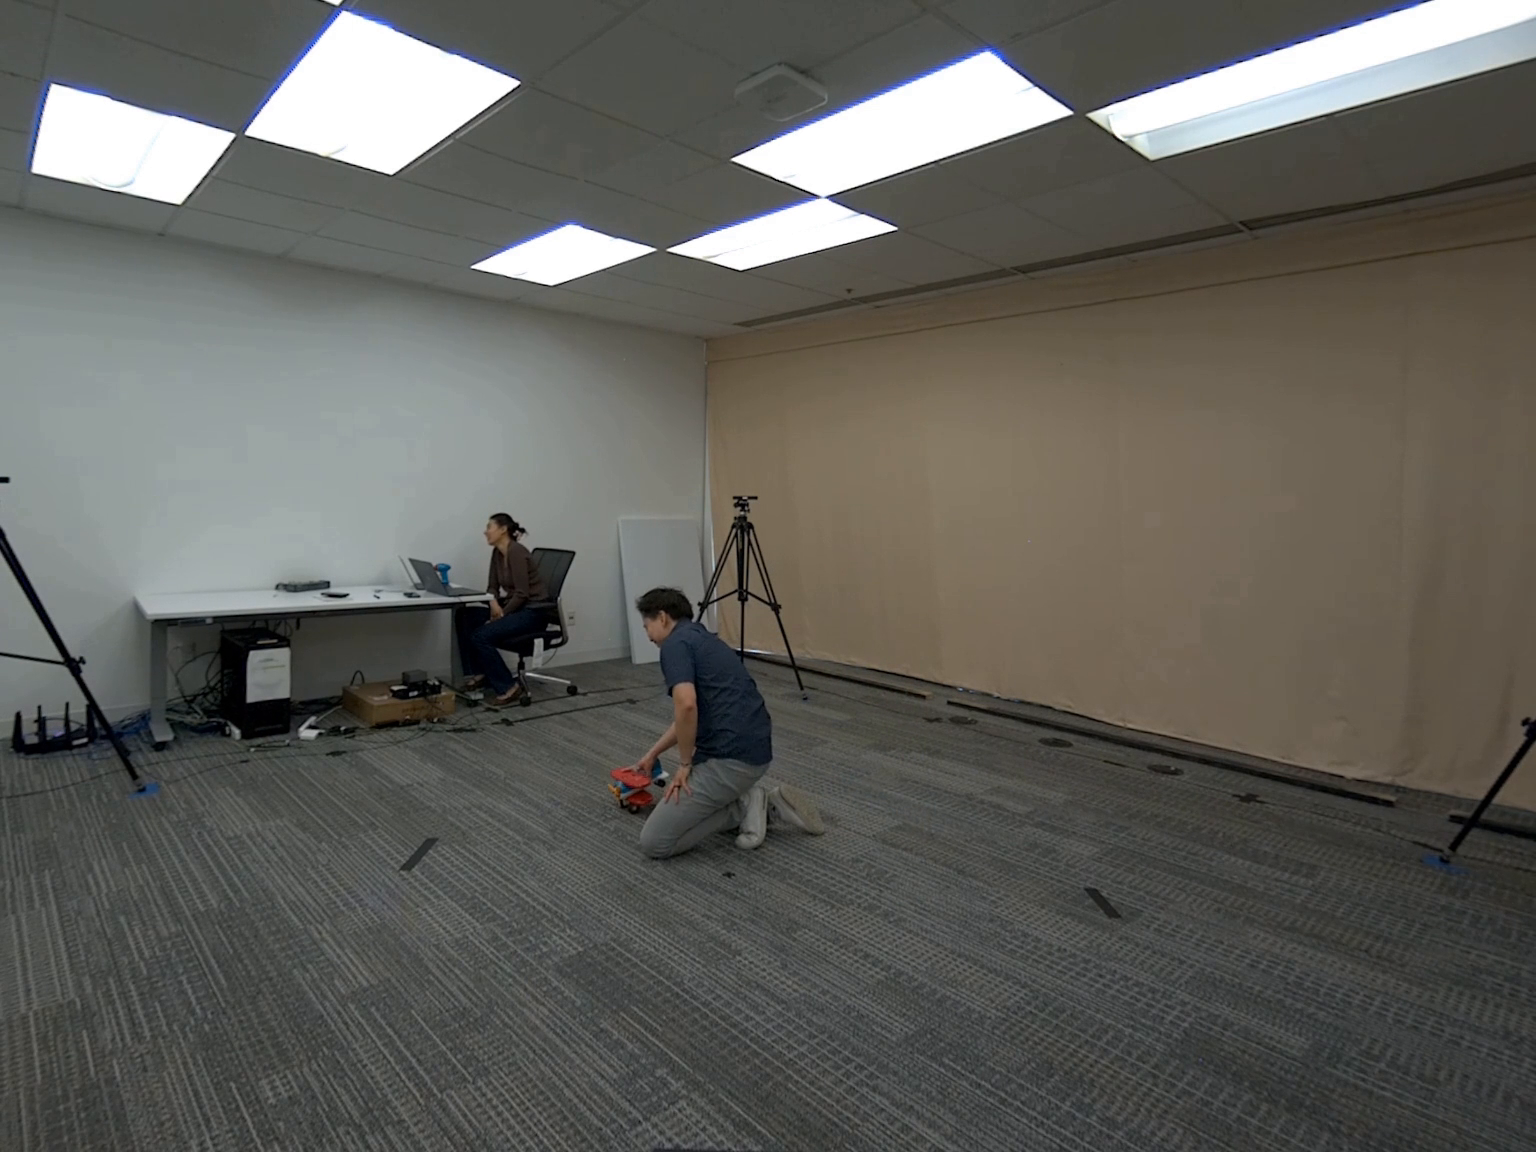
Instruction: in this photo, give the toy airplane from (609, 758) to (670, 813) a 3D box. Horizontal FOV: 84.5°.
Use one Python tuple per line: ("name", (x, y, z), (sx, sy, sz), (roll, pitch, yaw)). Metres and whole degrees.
("toy airplane", (-0.596, 0.930, 3.764), (0.255, 0.153, 0.260), (-10, 23, 23))
